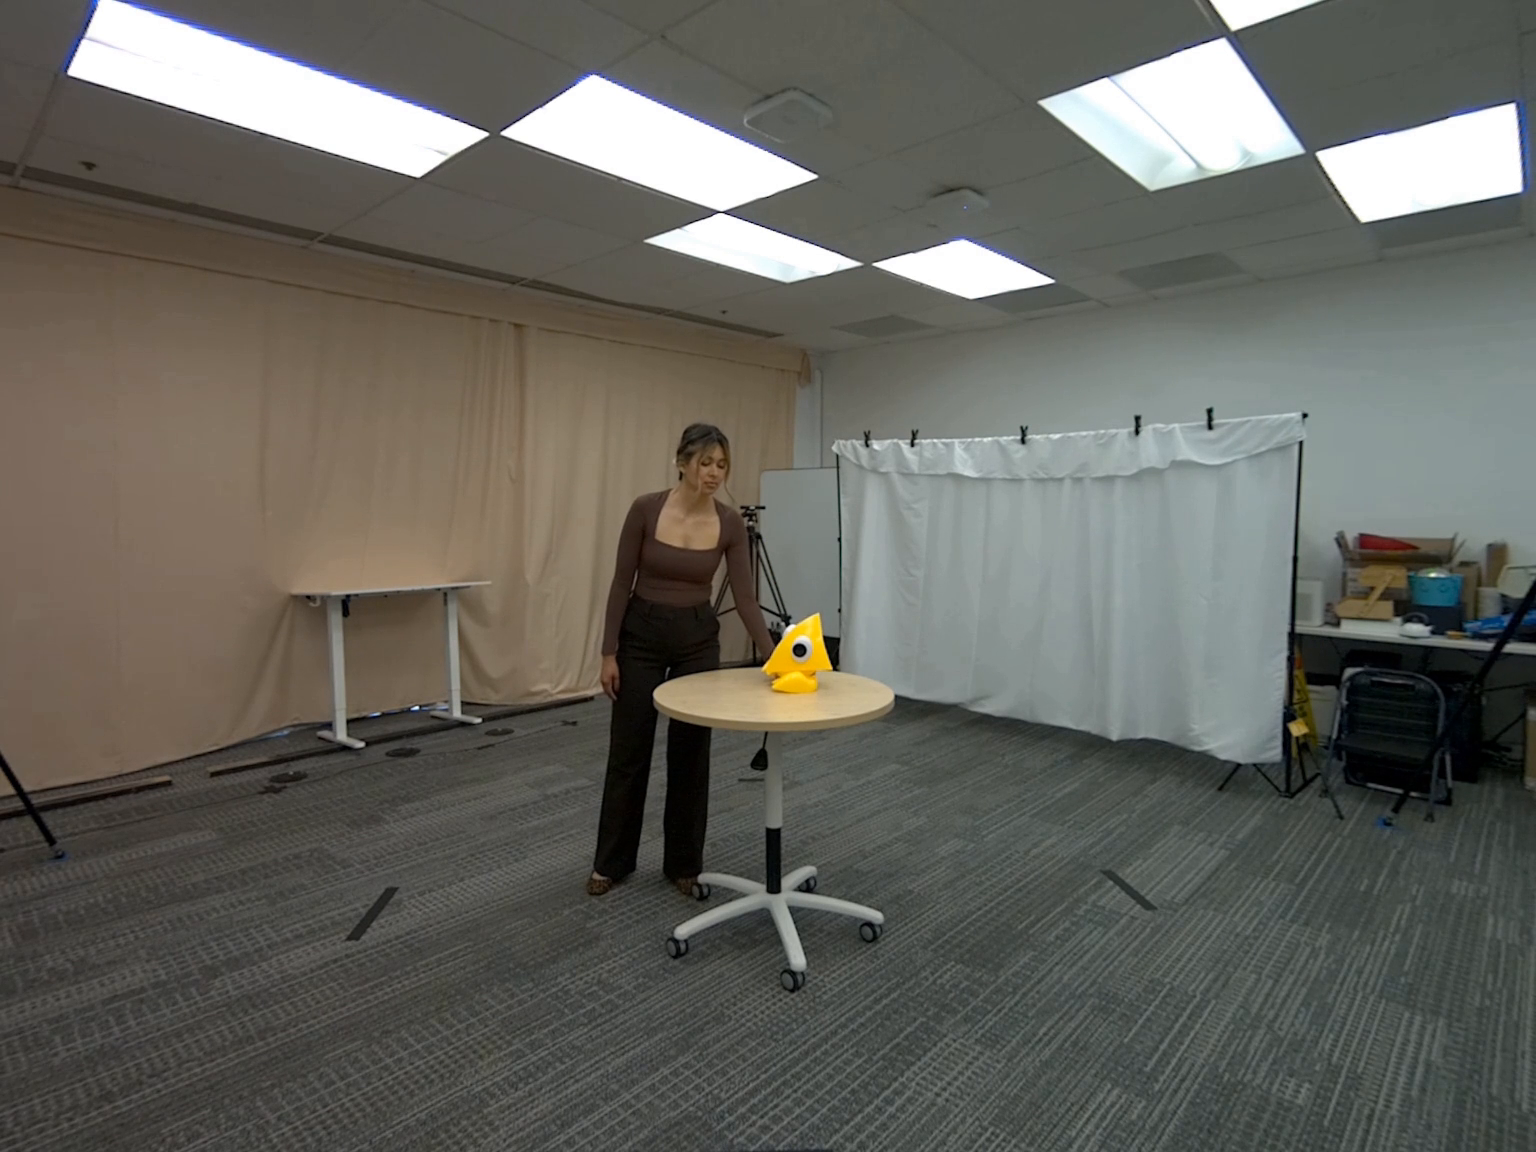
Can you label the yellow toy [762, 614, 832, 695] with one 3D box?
[{"bbox_3d":[0.100,0.230,2.727,0.190,0.229,0.210,2,18,-16],"label":"yellow toy"}]
